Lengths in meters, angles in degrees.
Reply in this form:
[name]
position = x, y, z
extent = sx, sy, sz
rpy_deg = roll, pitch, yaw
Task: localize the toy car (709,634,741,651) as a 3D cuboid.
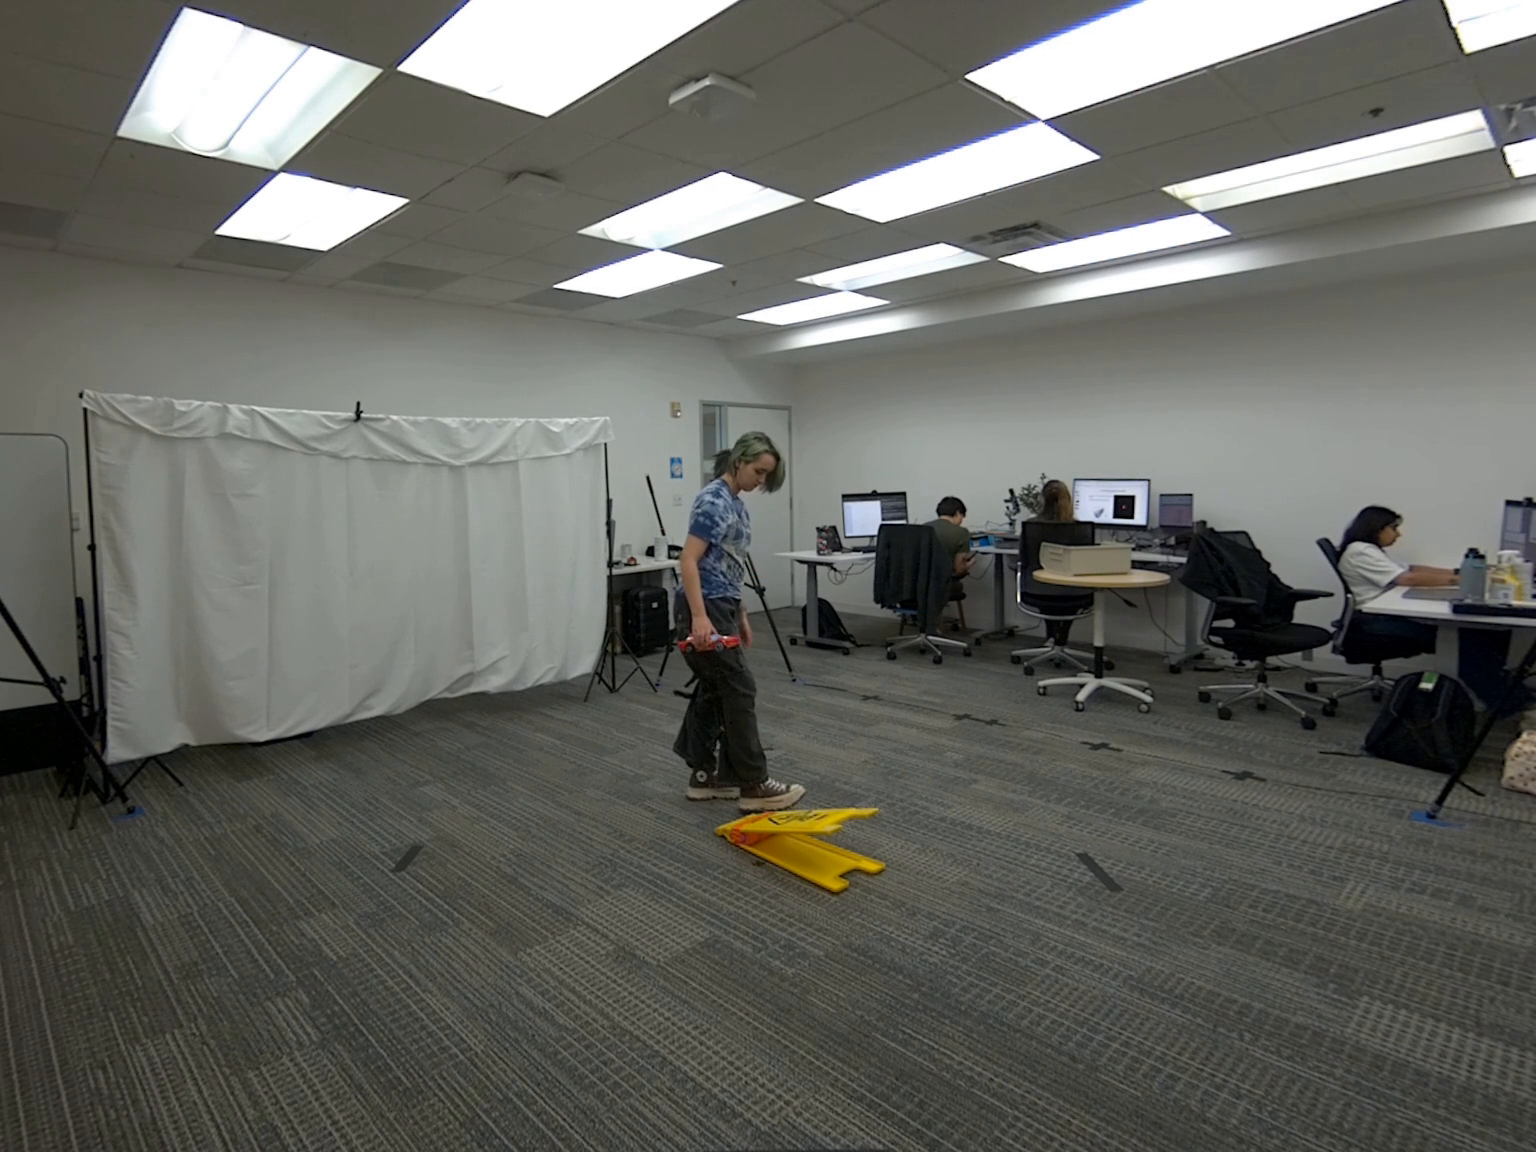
[toy car]
position = -0.261, 0.284, 3.407
extent = 0.262, 0.083, 0.127
rpy_deg = 3, 4, 33
